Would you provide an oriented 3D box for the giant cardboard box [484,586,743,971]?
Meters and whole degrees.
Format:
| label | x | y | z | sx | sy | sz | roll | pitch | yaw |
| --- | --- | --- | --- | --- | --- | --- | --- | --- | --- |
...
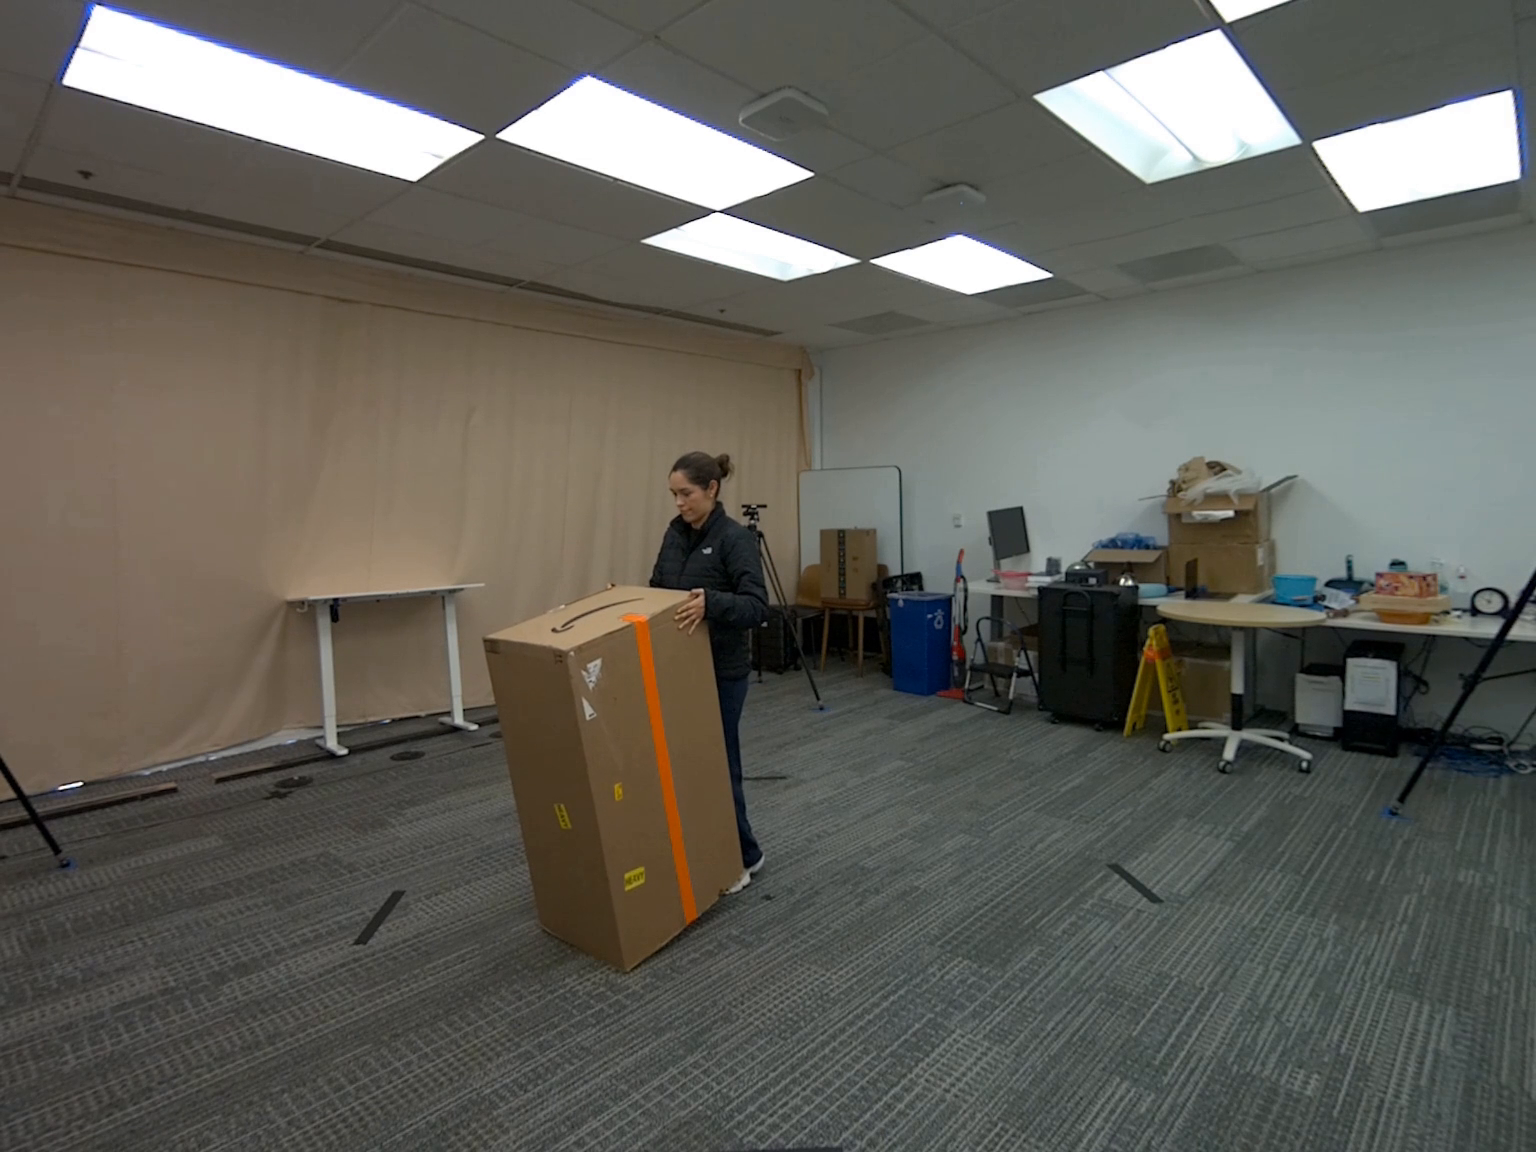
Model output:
| label | x | y | z | sx | sy | sz | roll | pitch | yaw |
| --- | --- | --- | --- | --- | --- | --- | --- | --- | --- |
| giant cardboard box | -0.471 | 0.619 | 2.753 | 0.440 | 1.017 | 0.564 | 2 | 15 | 40 |
